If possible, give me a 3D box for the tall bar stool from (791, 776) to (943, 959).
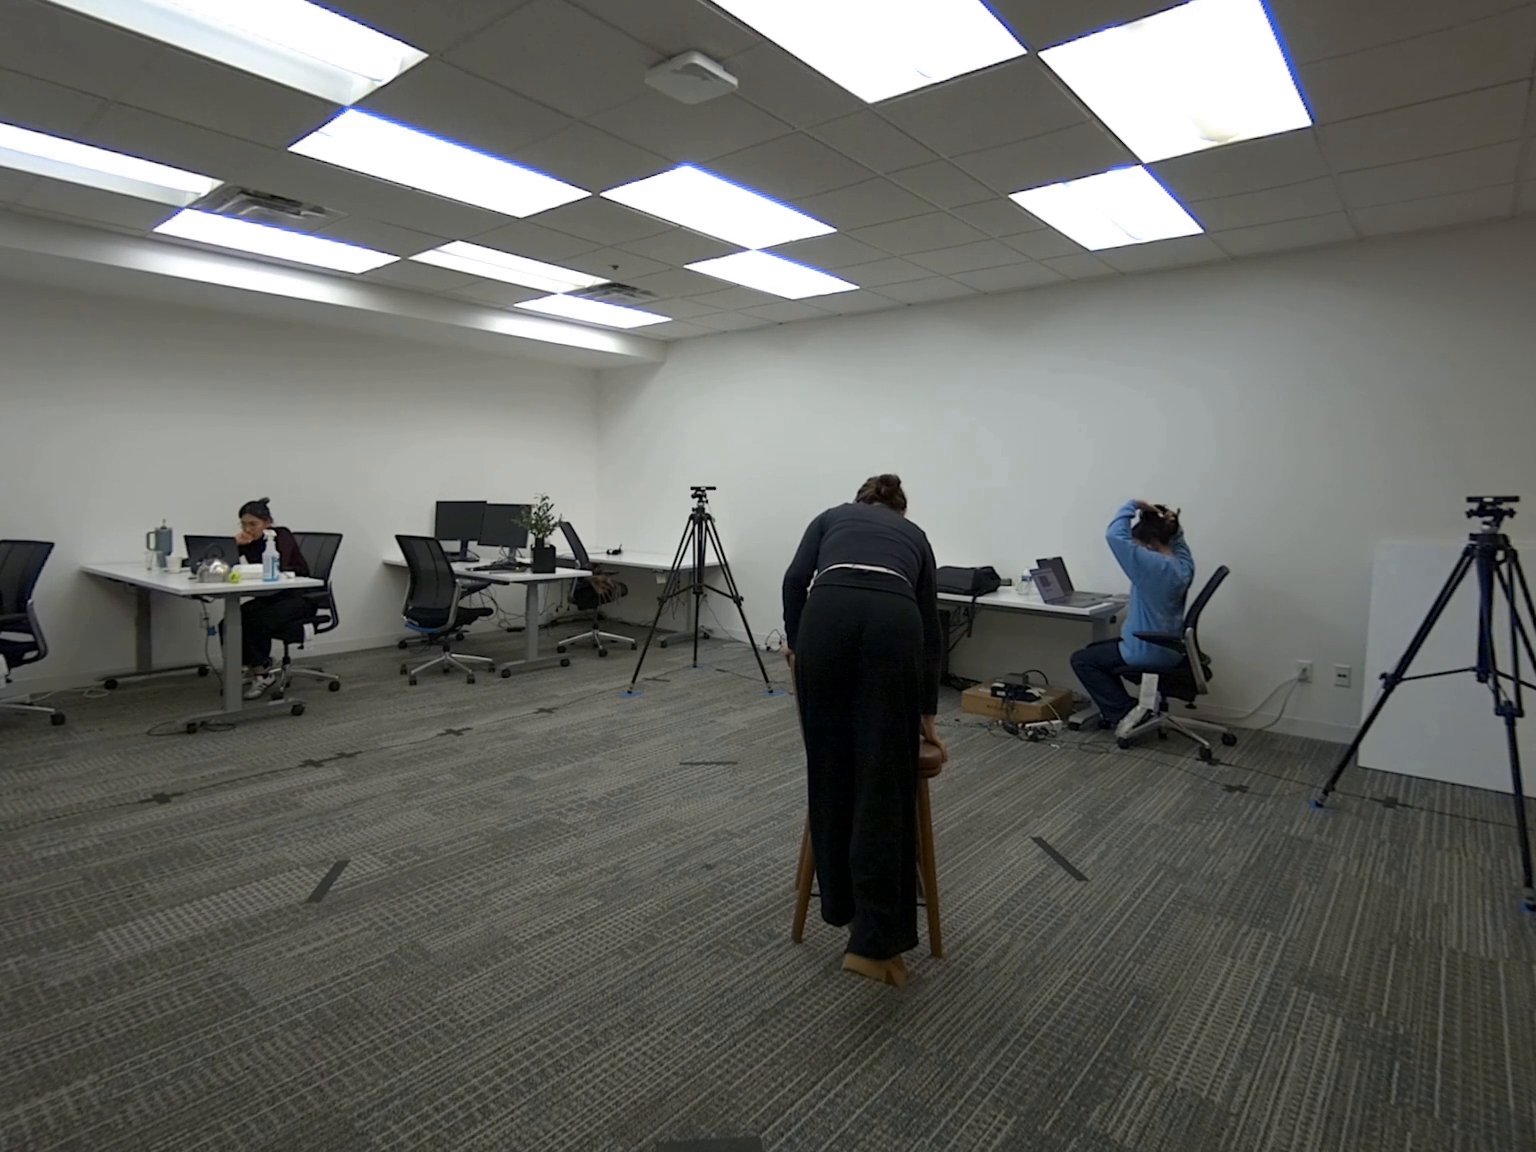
[{"bbox_3d":[0.309,0.675,2.748,0.471,0.887,0.455,1,3,5],"label":"tall bar stool"}]
